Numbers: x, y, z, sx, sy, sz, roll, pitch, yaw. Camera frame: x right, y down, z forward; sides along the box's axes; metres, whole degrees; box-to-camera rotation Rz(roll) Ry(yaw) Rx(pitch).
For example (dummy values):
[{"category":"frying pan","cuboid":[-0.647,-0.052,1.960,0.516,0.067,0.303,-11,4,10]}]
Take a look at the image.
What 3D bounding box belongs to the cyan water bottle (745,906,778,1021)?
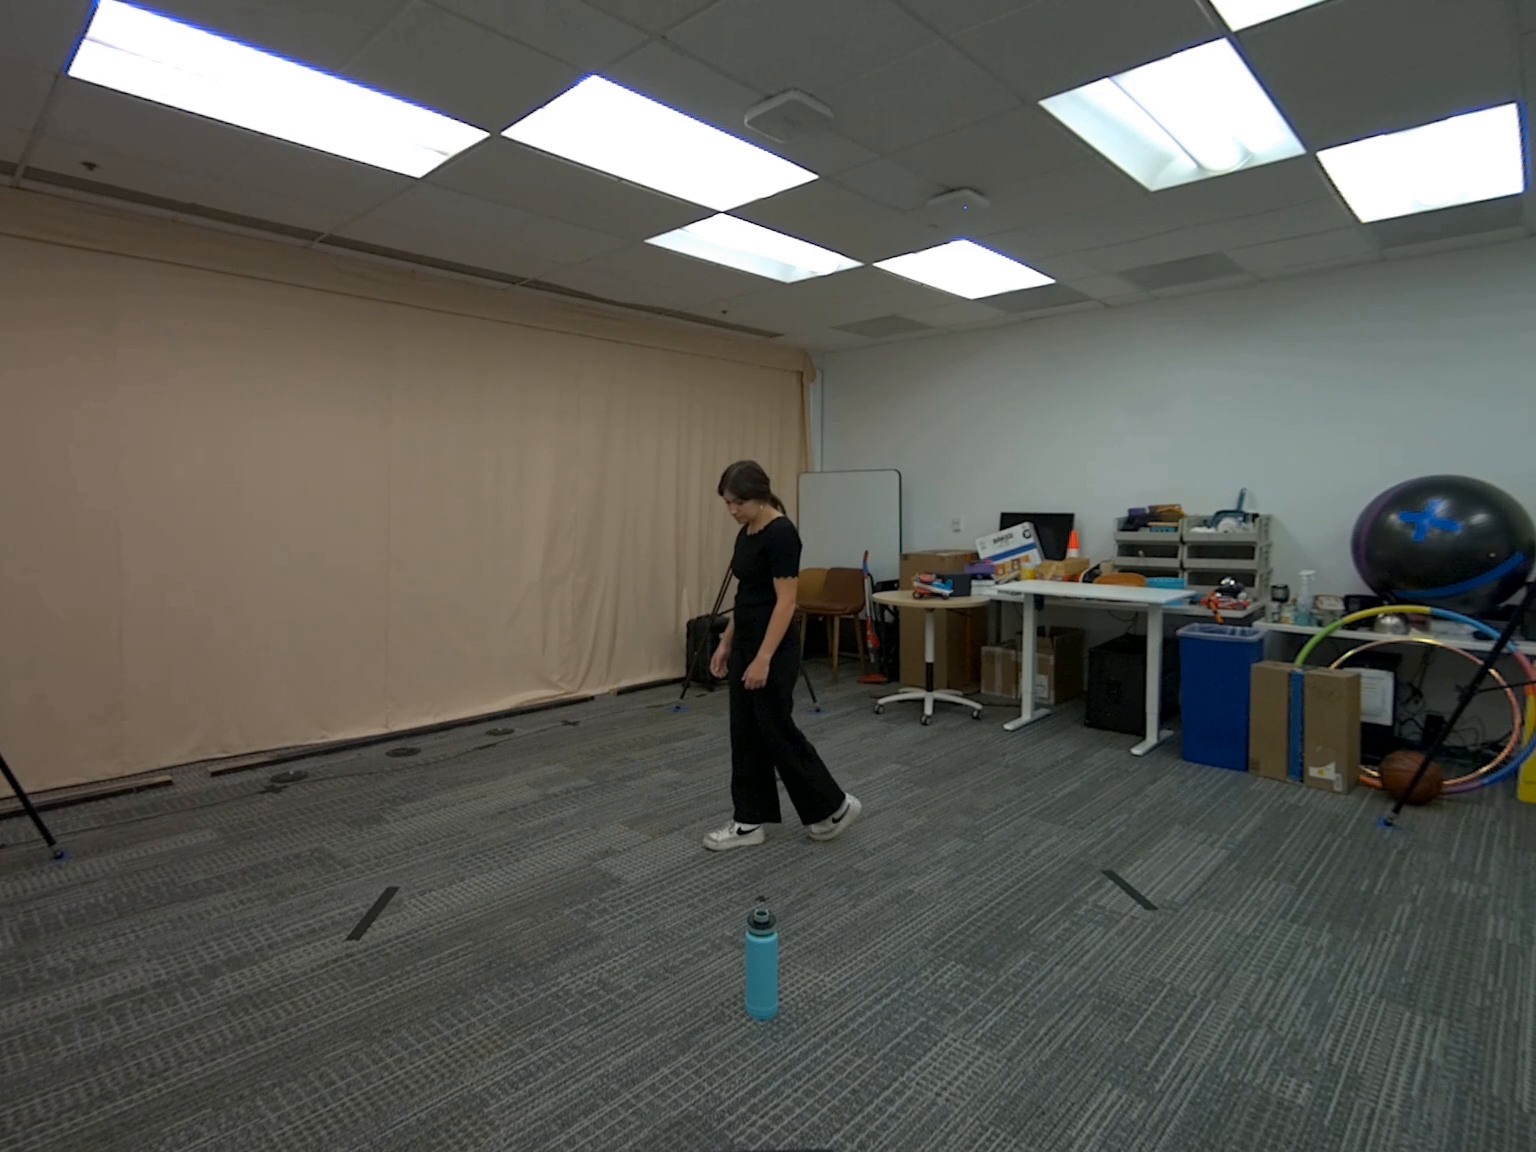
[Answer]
[{"category":"cyan water bottle","cuboid":[-0.022,1.053,2.318,0.092,0.283,0.092,0,3,-2]}]
